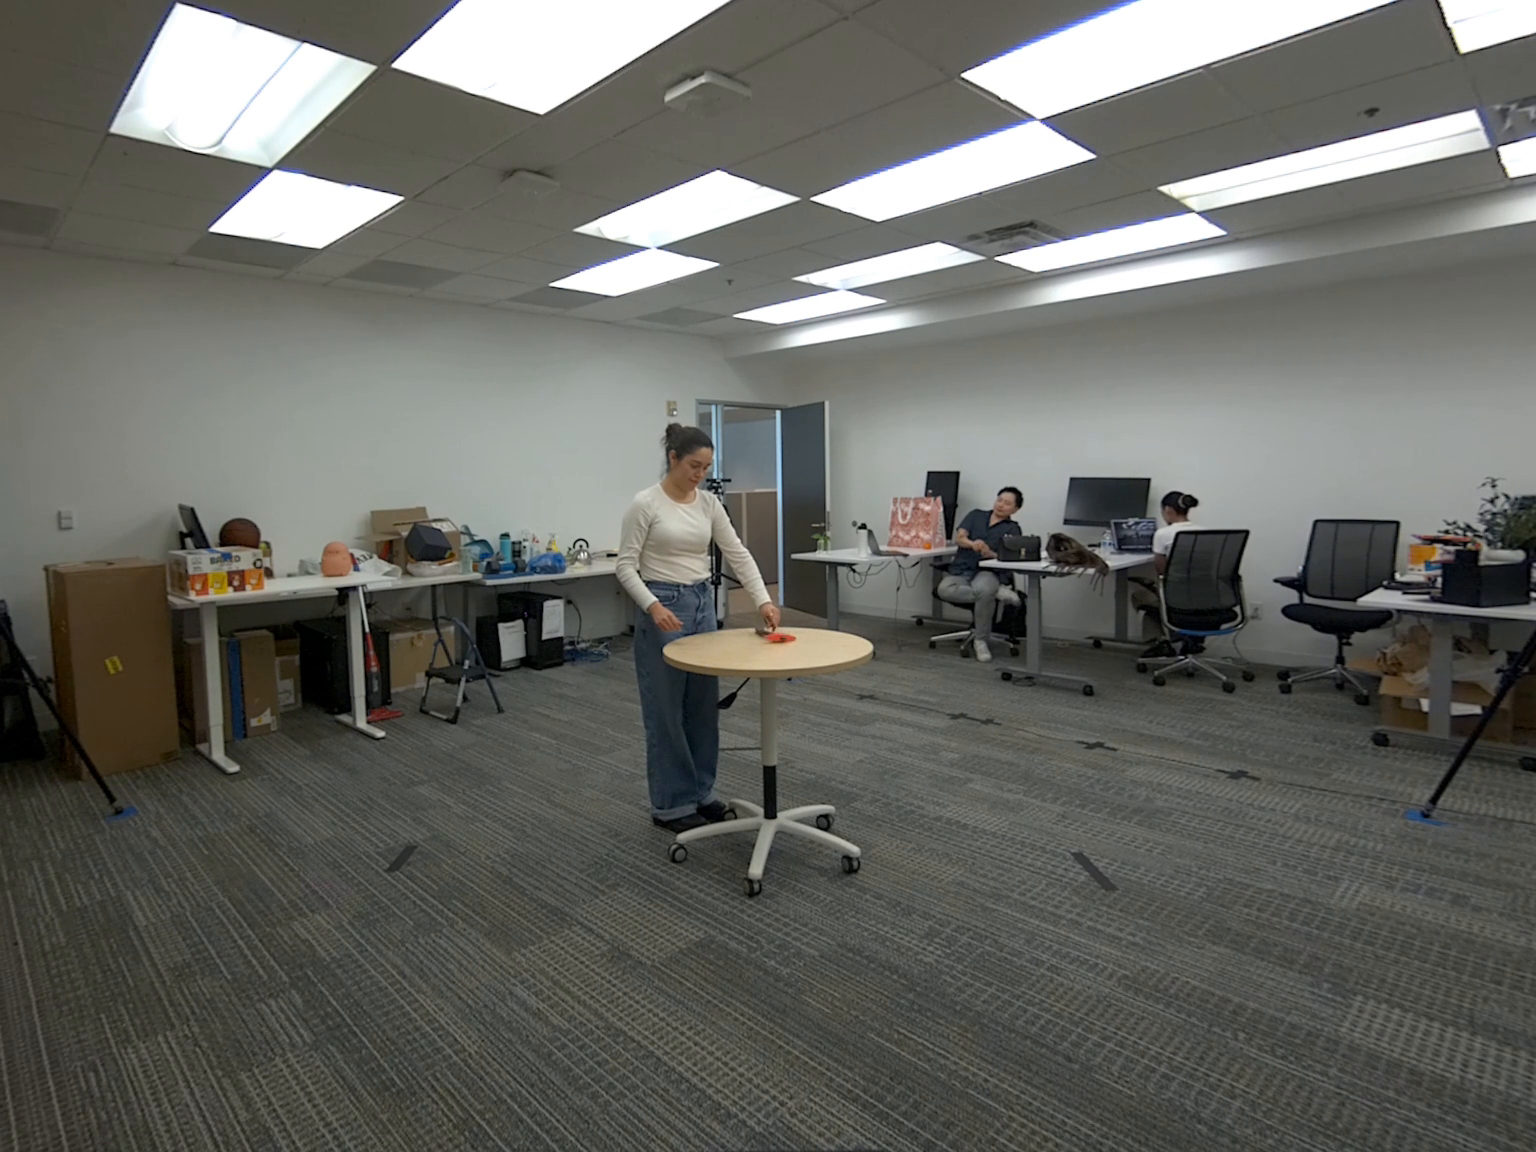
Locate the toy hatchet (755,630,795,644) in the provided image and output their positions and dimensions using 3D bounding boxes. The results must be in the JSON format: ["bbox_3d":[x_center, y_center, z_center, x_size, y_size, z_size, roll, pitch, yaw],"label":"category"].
[{"bbox_3d":[0.029,0.223,3.310,0.130,0.029,0.272,2,4,-8],"label":"toy hatchet"}]
